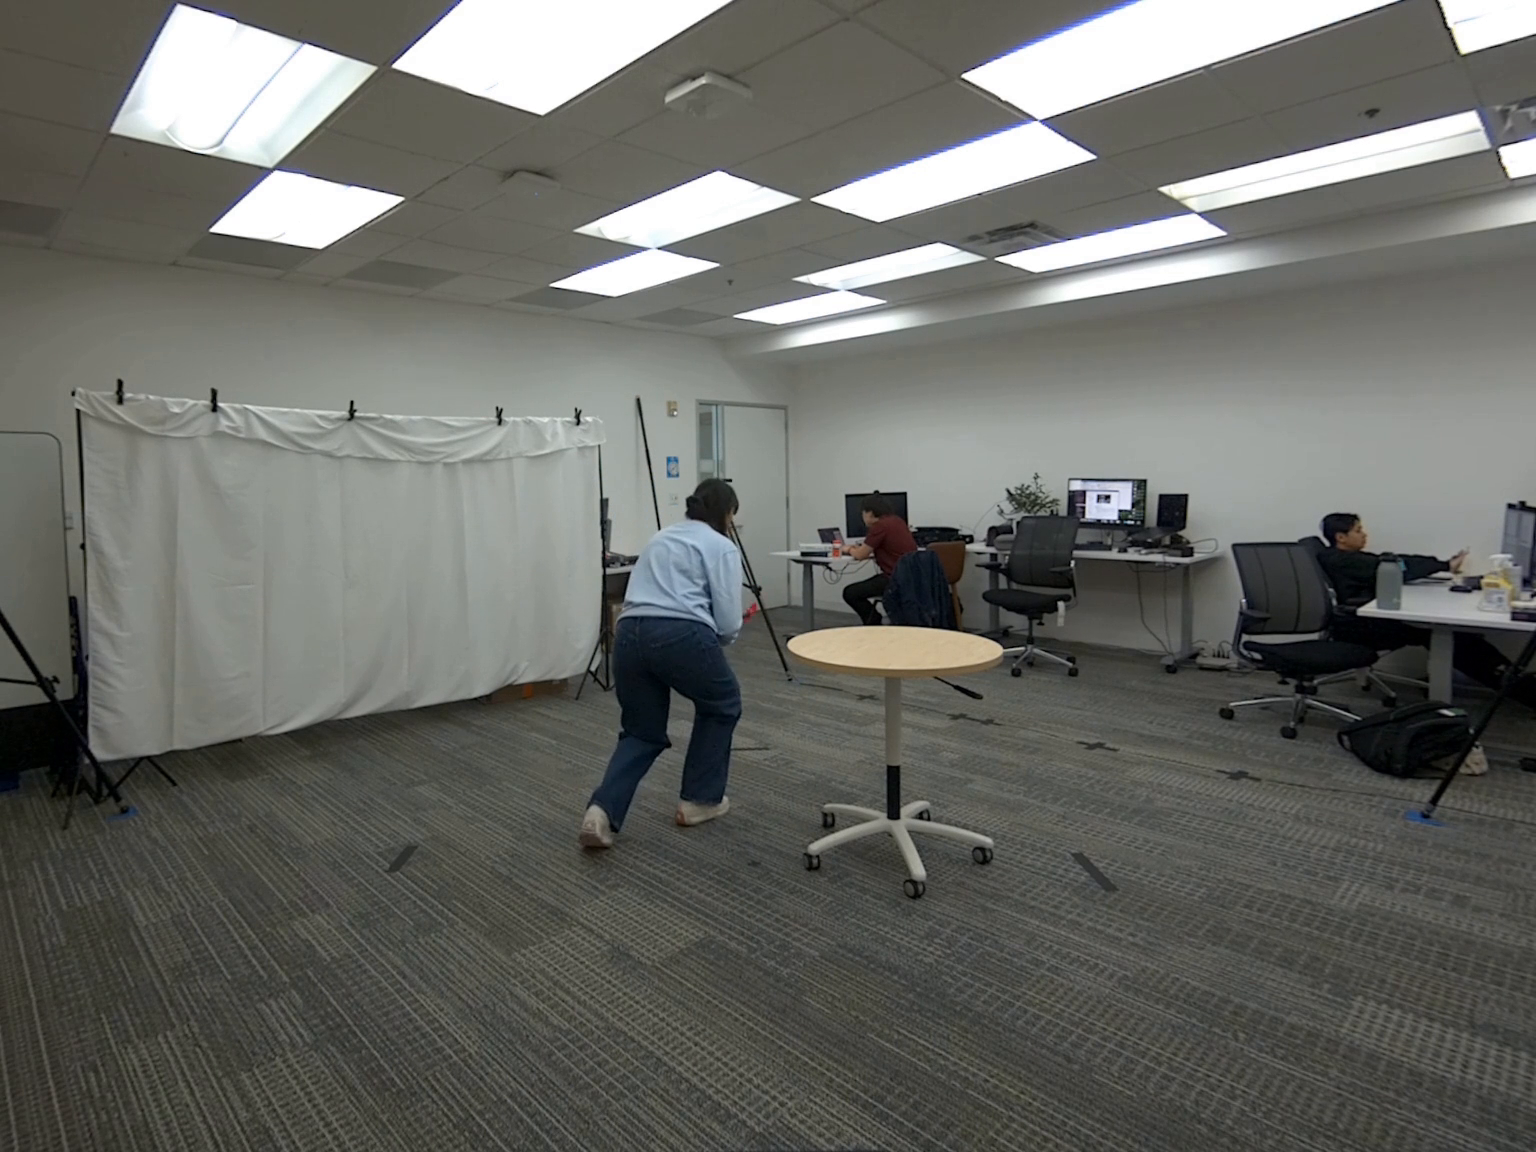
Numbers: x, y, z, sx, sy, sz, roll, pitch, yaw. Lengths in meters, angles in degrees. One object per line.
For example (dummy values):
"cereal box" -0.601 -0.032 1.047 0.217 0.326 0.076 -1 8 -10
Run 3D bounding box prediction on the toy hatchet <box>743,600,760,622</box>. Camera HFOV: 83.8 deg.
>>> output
"toy hatchet" -0.147 0.214 3.755 0.269 0.030 0.128 -40 -19 -26
